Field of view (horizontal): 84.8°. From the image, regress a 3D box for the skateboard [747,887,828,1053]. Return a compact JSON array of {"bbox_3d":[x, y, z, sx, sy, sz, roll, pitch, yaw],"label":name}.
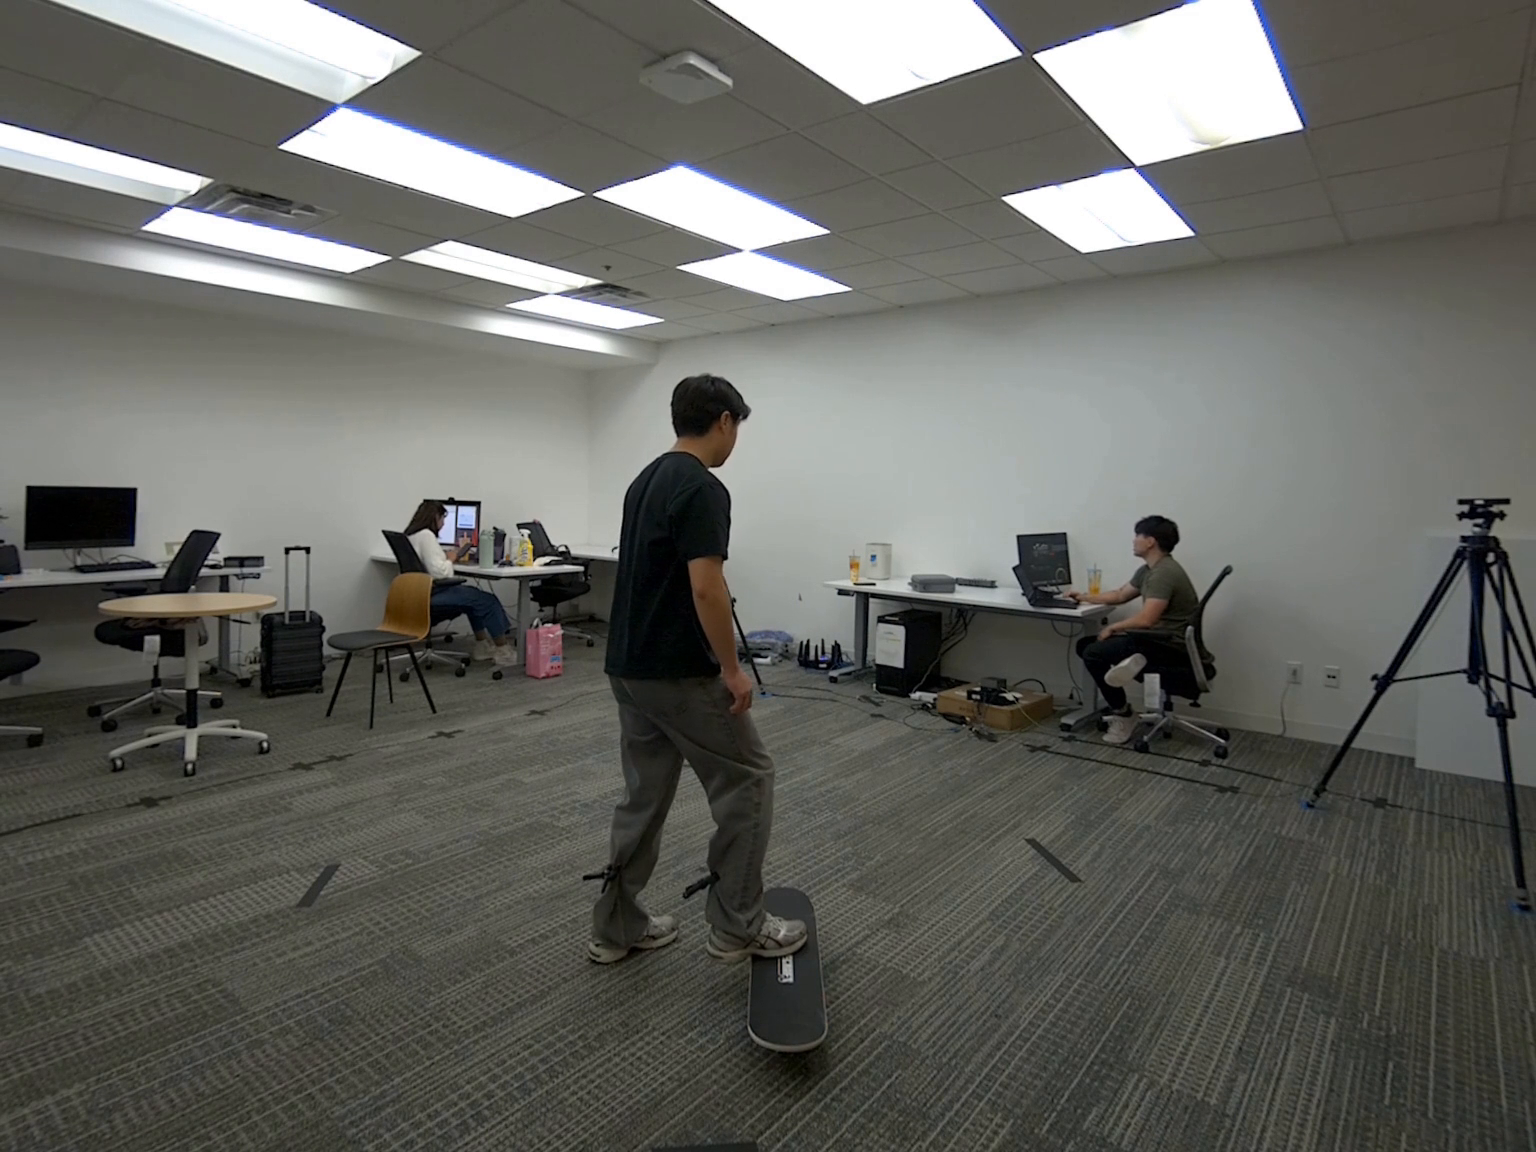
[{"bbox_3d":[0.042,1.088,2.362,0.194,0.110,0.787,0,6,0],"label":"skateboard"}]
